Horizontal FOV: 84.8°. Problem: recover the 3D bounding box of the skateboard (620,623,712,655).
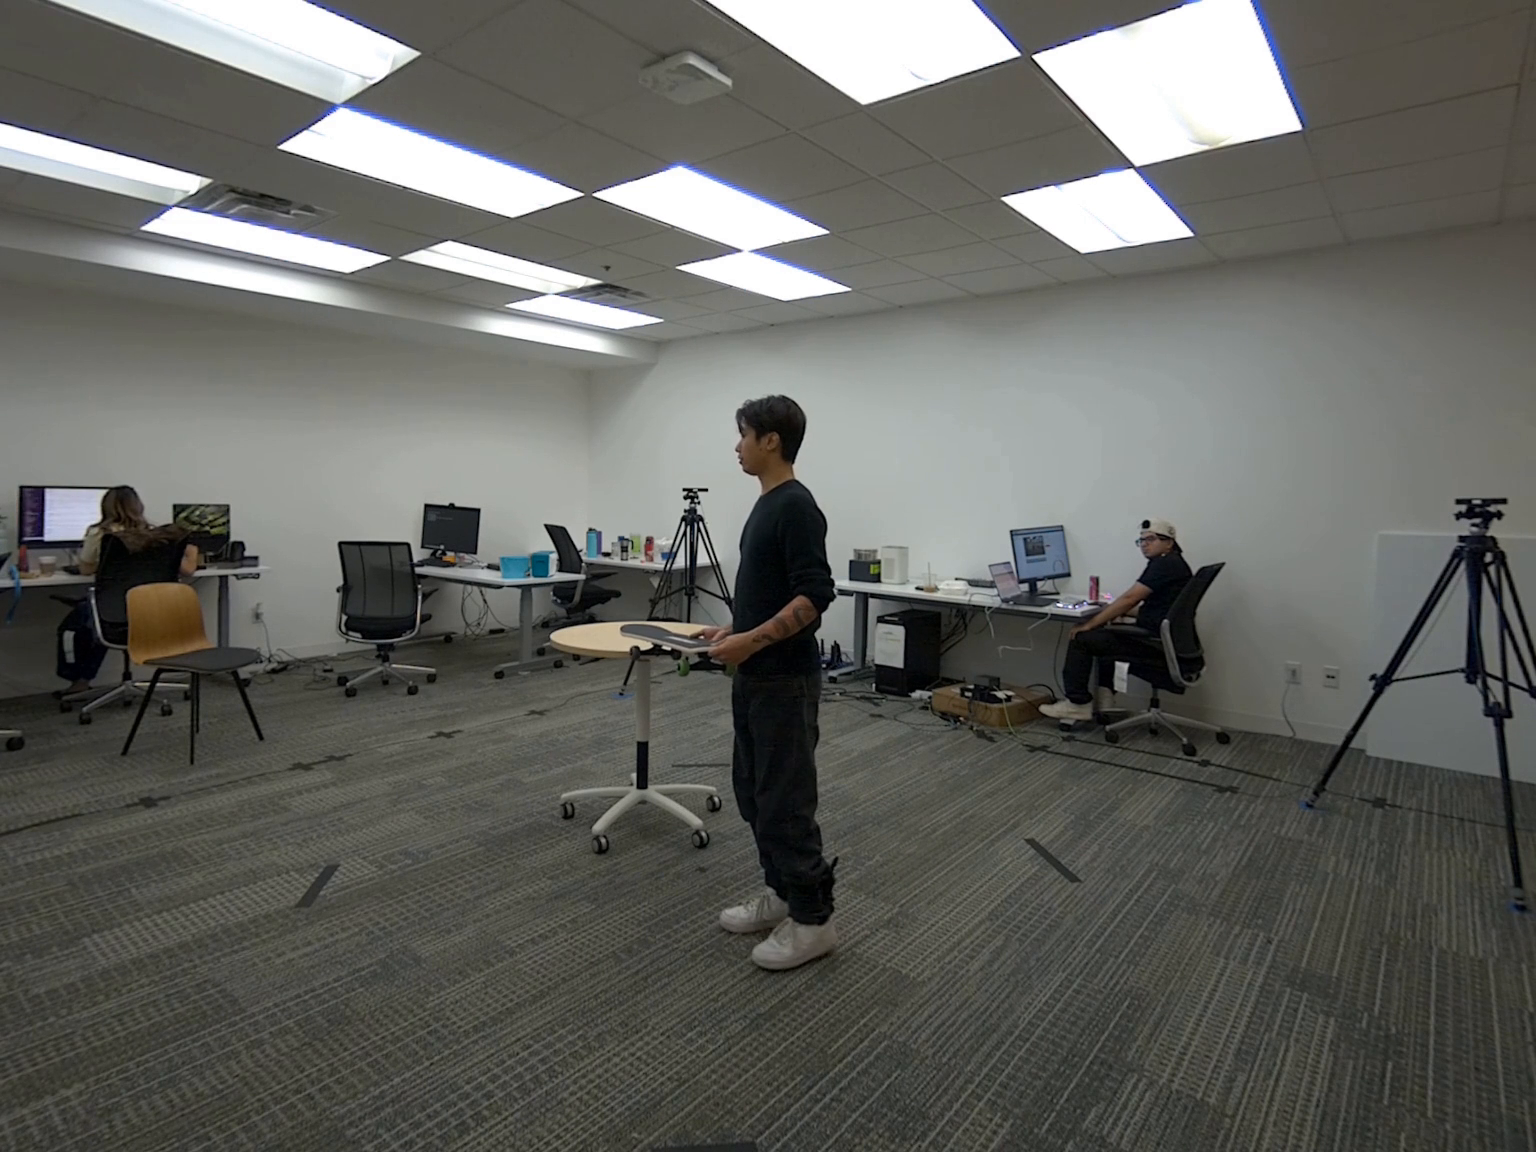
[{"bbox_3d":[-0.288,0.242,2.740,0.188,0.110,0.806,1,1,-28],"label":"skateboard"}]
